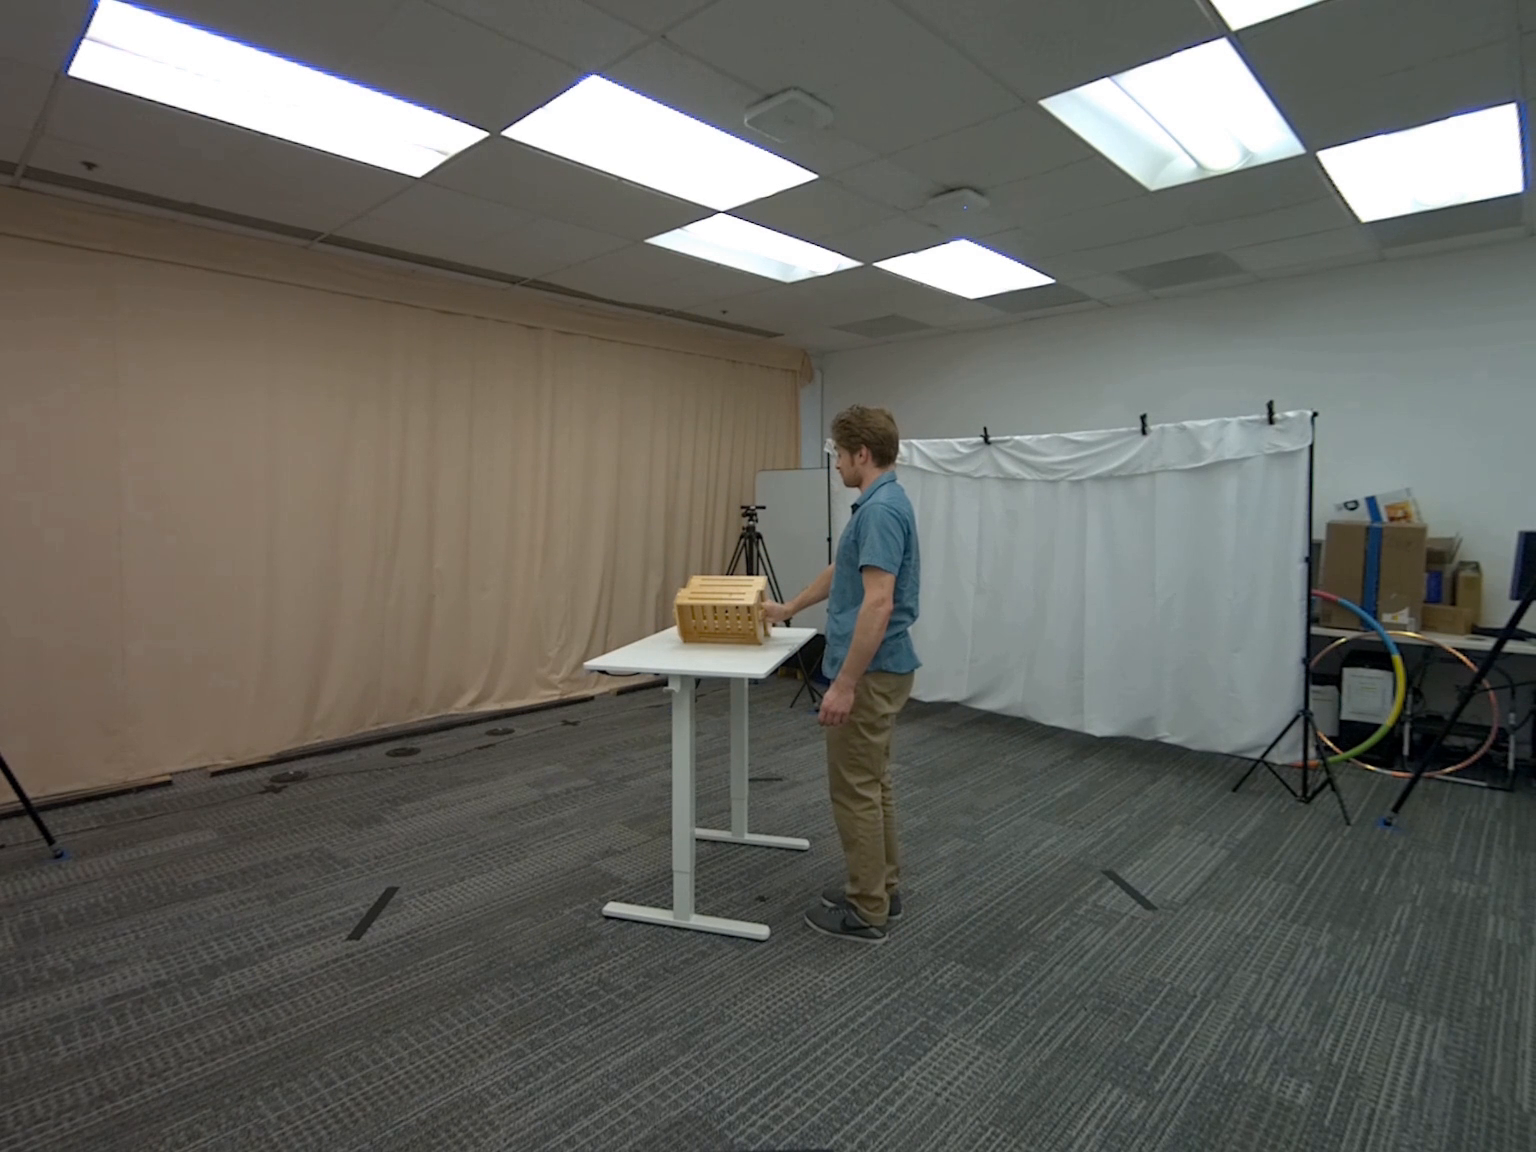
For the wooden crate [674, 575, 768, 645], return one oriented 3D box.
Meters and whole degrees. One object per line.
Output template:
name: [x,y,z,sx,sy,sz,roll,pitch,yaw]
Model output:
wooden crate: [-0.162,0.155,3.157,0.329,0.296,0.275,1,30,11]
